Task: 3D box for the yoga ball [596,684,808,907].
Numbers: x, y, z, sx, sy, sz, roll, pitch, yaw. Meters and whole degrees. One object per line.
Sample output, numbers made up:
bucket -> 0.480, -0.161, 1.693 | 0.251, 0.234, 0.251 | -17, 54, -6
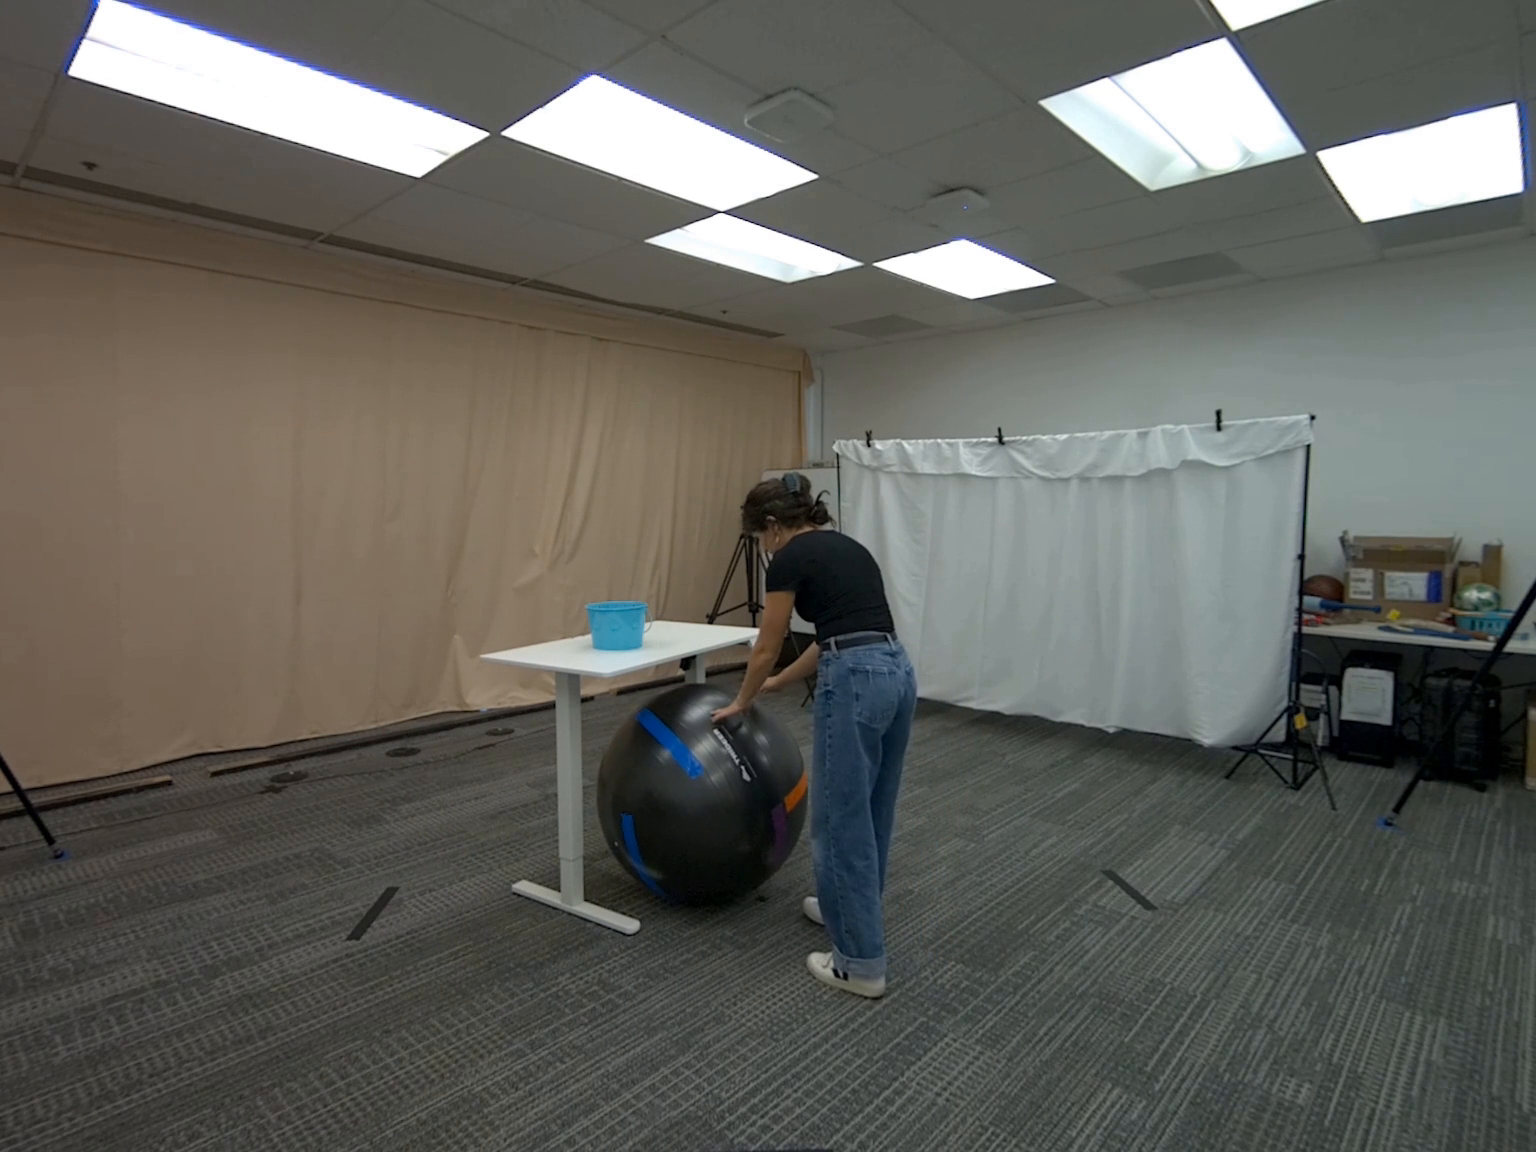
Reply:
yoga ball -> -0.237, 0.769, 3.033 | 0.757, 0.756, 0.760 | 0, 4, -2
